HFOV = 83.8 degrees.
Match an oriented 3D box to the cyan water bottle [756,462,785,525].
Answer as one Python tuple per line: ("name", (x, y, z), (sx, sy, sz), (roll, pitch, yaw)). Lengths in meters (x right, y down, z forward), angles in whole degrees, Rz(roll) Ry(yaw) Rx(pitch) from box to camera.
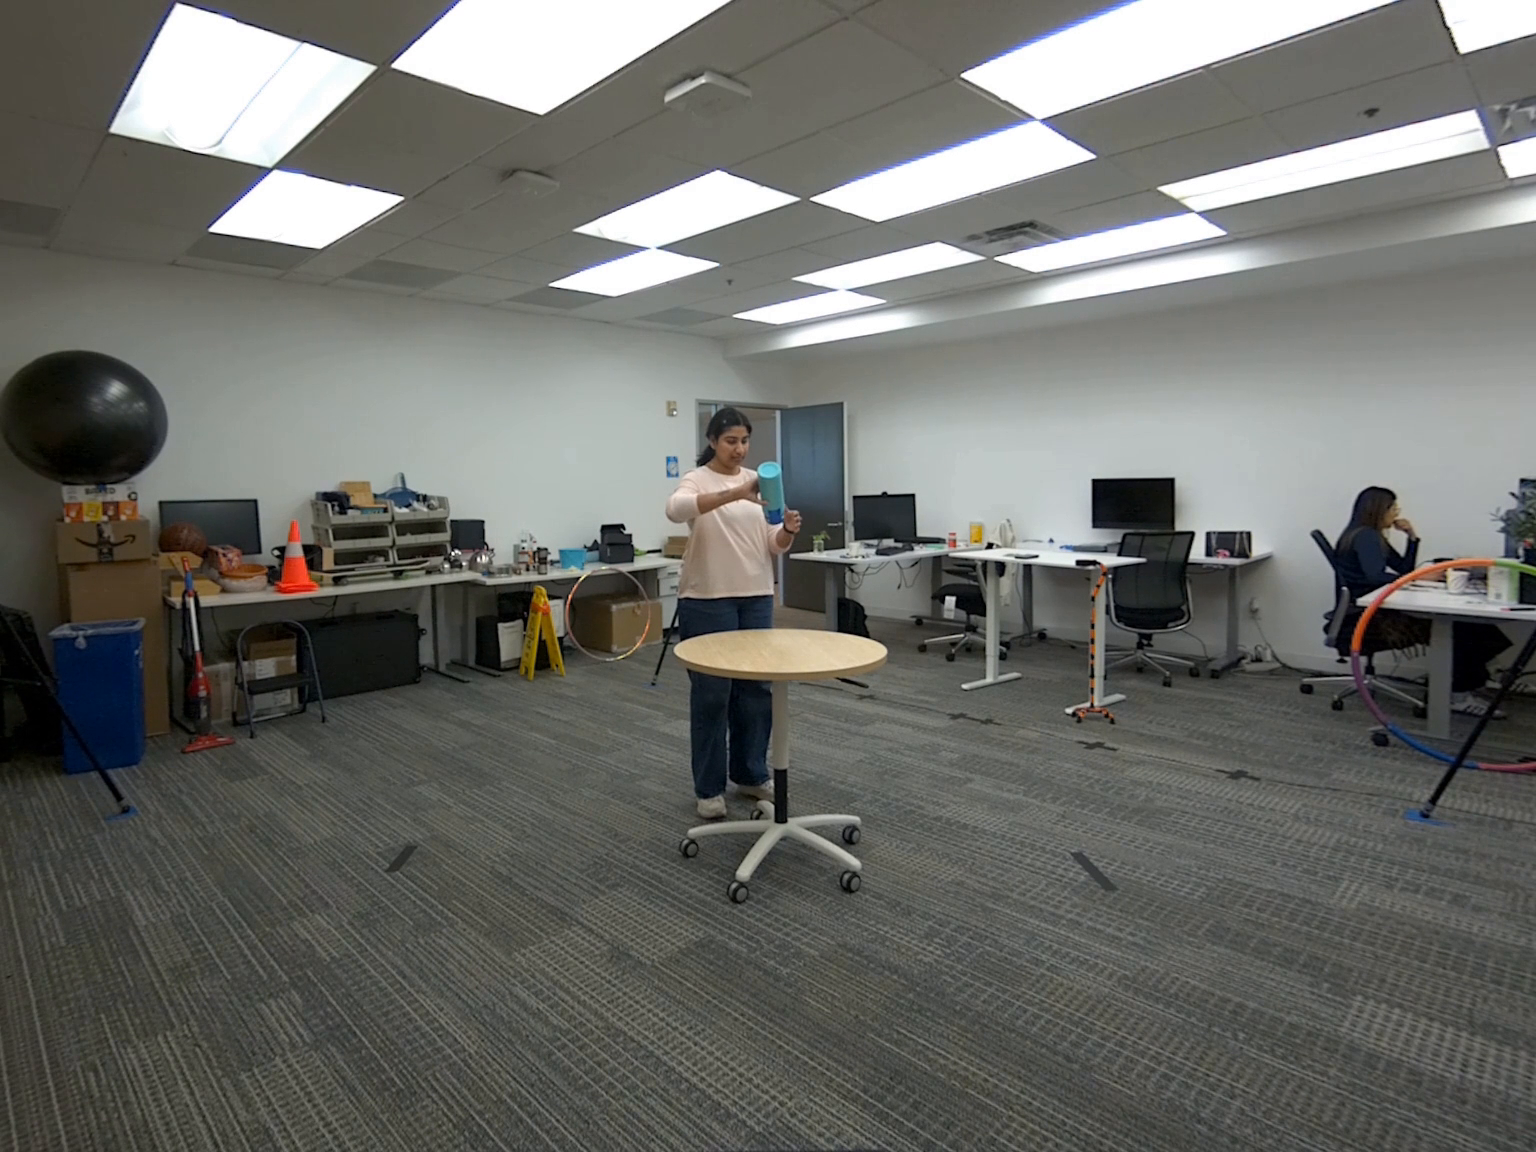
("cyan water bottle", (0.006, -0.302, 3.284), (0.092, 0.275, 0.095), (-4, 46, 2))
